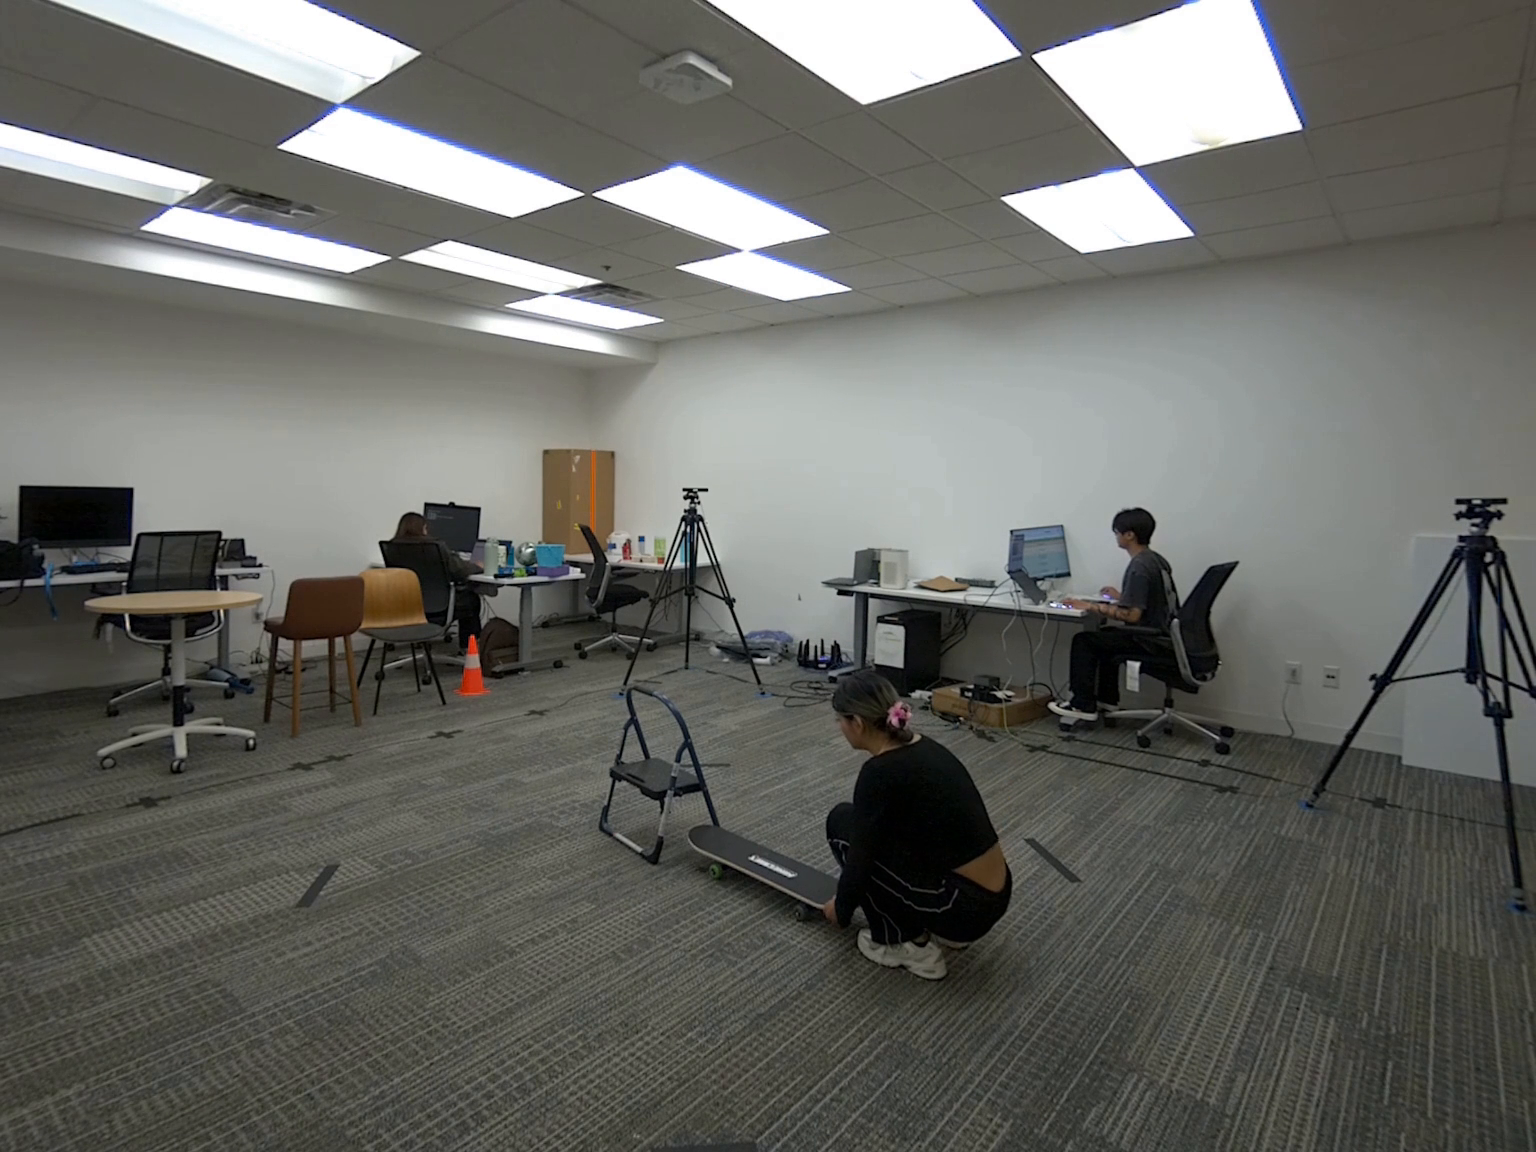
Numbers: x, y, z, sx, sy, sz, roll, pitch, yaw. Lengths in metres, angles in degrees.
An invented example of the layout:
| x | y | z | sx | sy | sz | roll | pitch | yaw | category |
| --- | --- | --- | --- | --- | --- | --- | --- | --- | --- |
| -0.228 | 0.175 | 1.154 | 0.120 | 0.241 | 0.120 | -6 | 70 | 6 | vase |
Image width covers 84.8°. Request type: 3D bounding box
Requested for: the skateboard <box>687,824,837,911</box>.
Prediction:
| x | y | z | sx | sy | sz | roll | pitch | yaw | category |
| --- | --- | --- | --- | --- | --- | --- | --- | --- | --- |
| 0.002 | 1.037 | 2.945 | 0.813 | 0.110 | 0.188 | 8 | 9 | 44 | skateboard |
